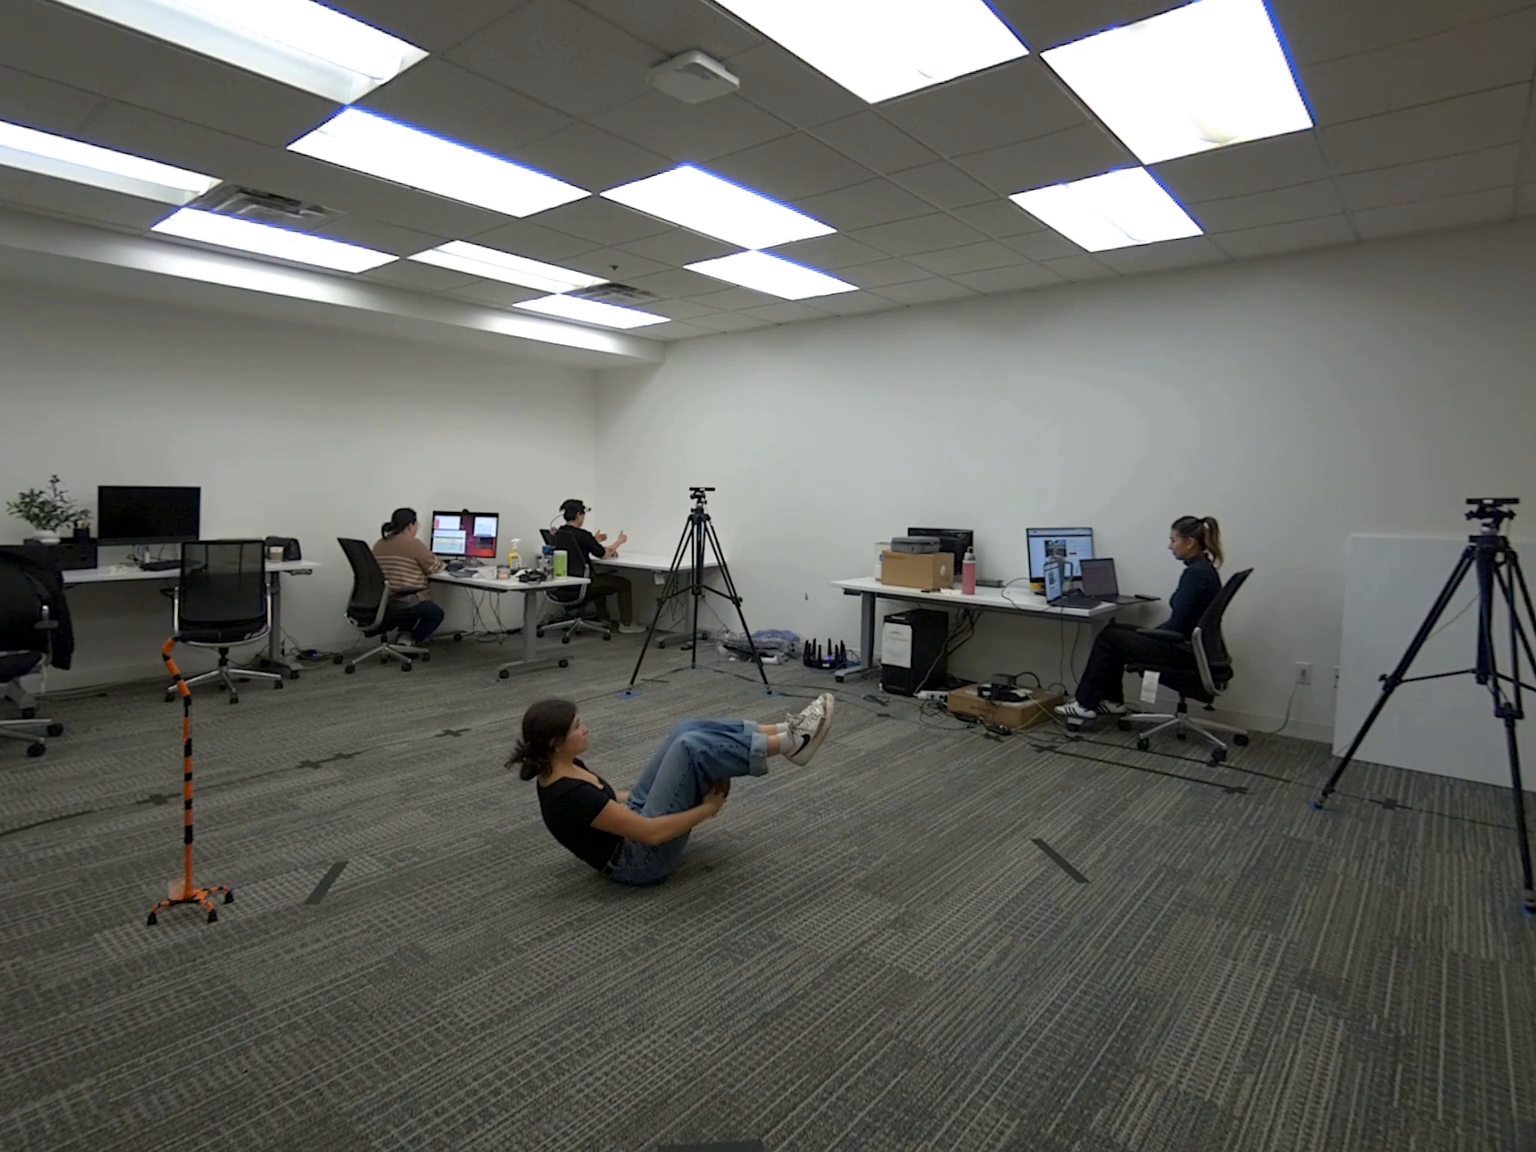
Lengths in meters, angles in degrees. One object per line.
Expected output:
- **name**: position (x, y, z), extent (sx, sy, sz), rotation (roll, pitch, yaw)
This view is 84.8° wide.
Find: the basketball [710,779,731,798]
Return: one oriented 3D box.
- **basketball**: position (-0.266, 0.791, 3.288), extent (0.235, 0.235, 0.237), rotation (1, 4, -2)
